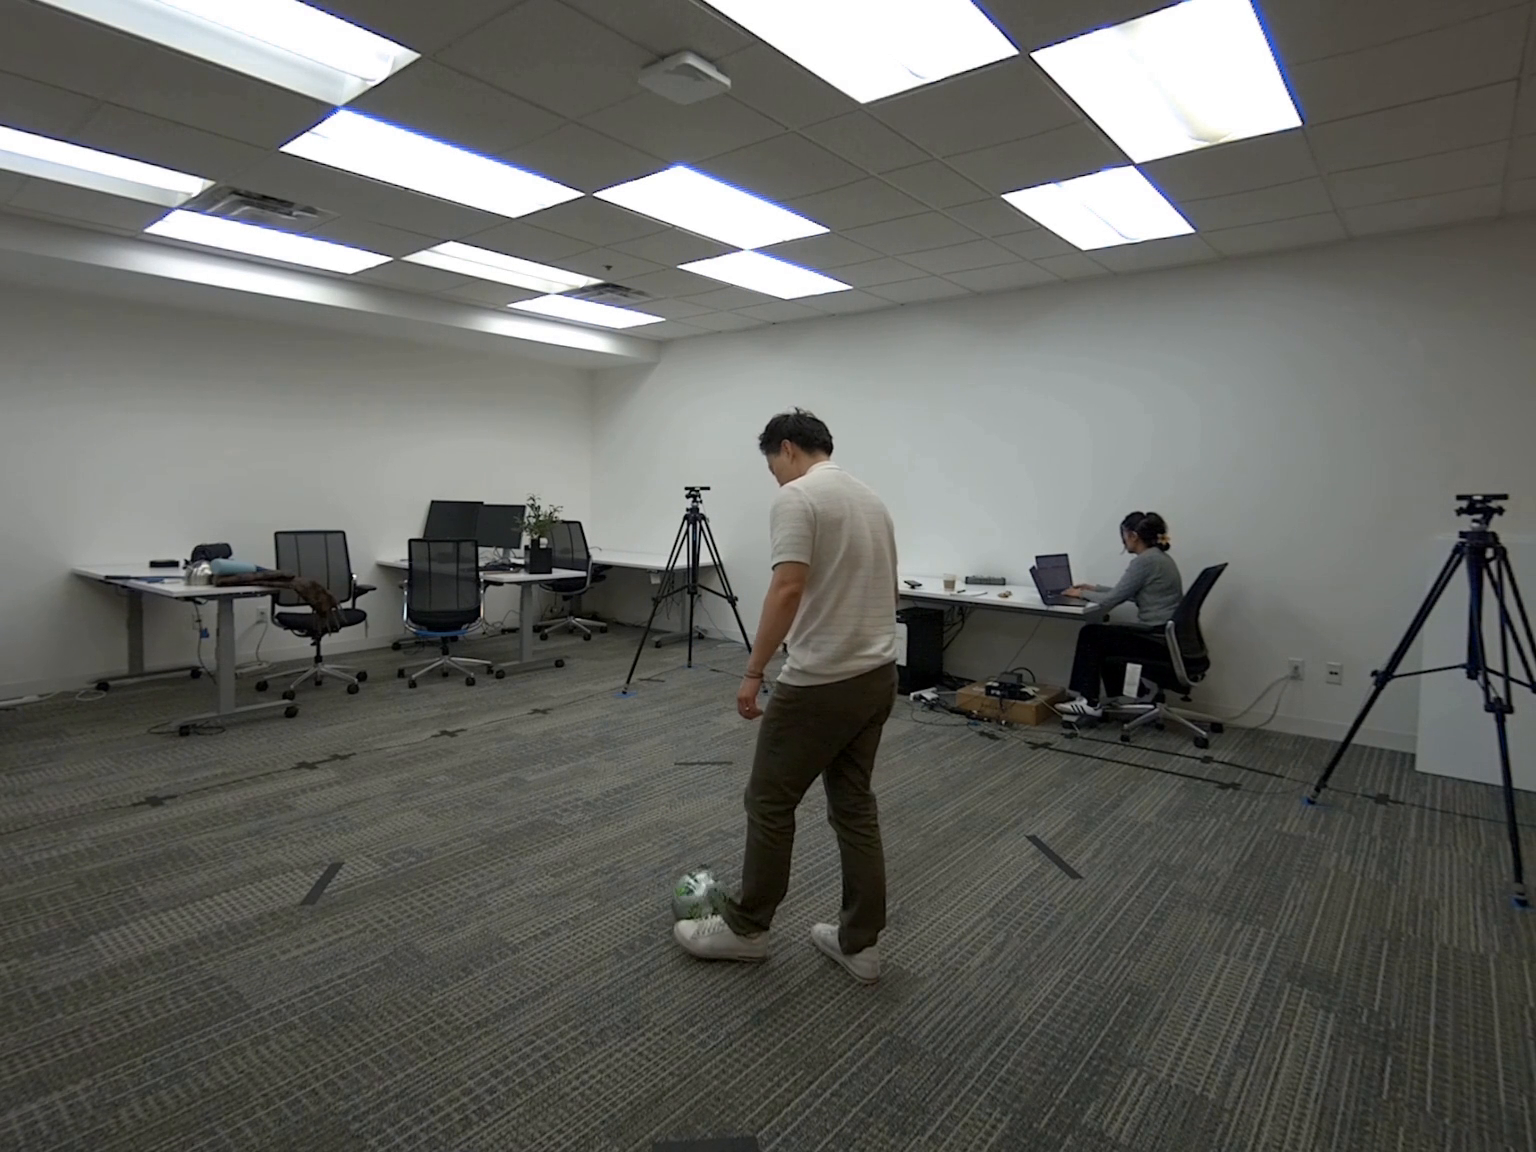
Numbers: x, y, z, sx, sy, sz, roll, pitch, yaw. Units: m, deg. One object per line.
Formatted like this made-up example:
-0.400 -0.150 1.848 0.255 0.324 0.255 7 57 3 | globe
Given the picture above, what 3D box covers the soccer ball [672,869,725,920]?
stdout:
-0.218 1.015 2.656 0.187 0.187 0.188 0 4 -2 | soccer ball
